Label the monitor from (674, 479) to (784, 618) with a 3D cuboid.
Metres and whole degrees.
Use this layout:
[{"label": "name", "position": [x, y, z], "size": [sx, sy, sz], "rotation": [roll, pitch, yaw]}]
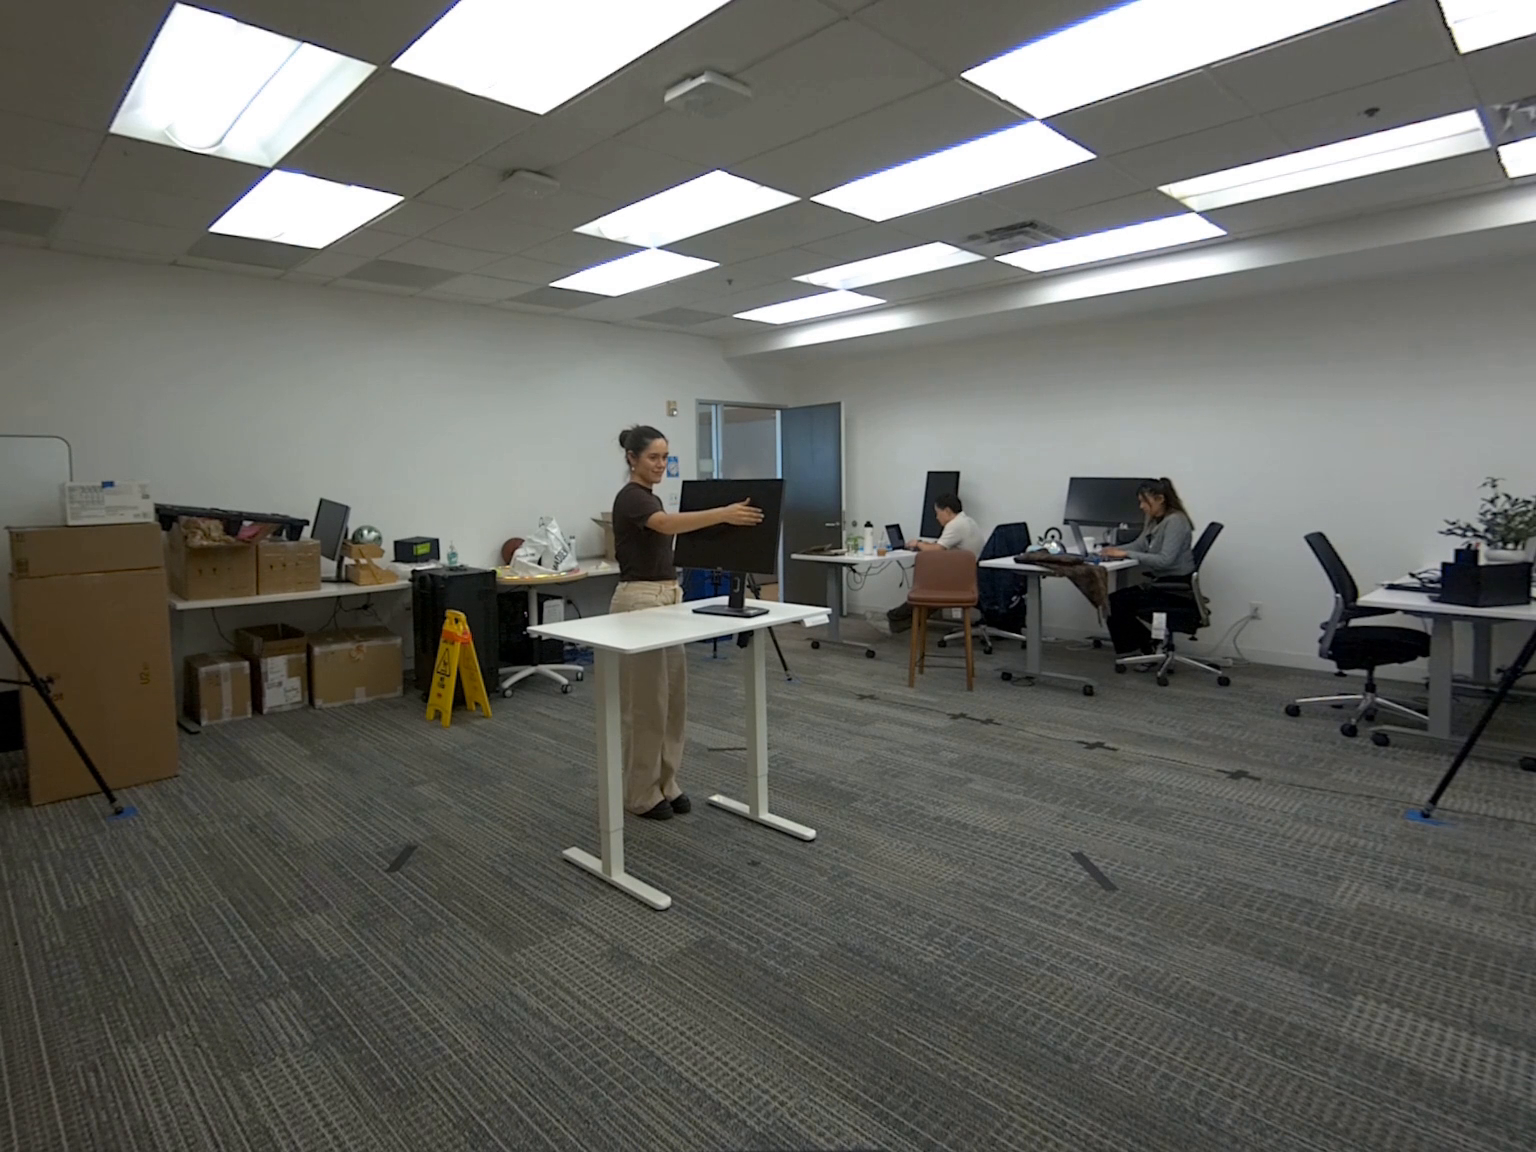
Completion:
[{"label": "monitor", "position": [-0.133, -0.107, 3.277], "size": [0.556, 0.520, 0.182], "rotation": [4, 6, 42]}]
